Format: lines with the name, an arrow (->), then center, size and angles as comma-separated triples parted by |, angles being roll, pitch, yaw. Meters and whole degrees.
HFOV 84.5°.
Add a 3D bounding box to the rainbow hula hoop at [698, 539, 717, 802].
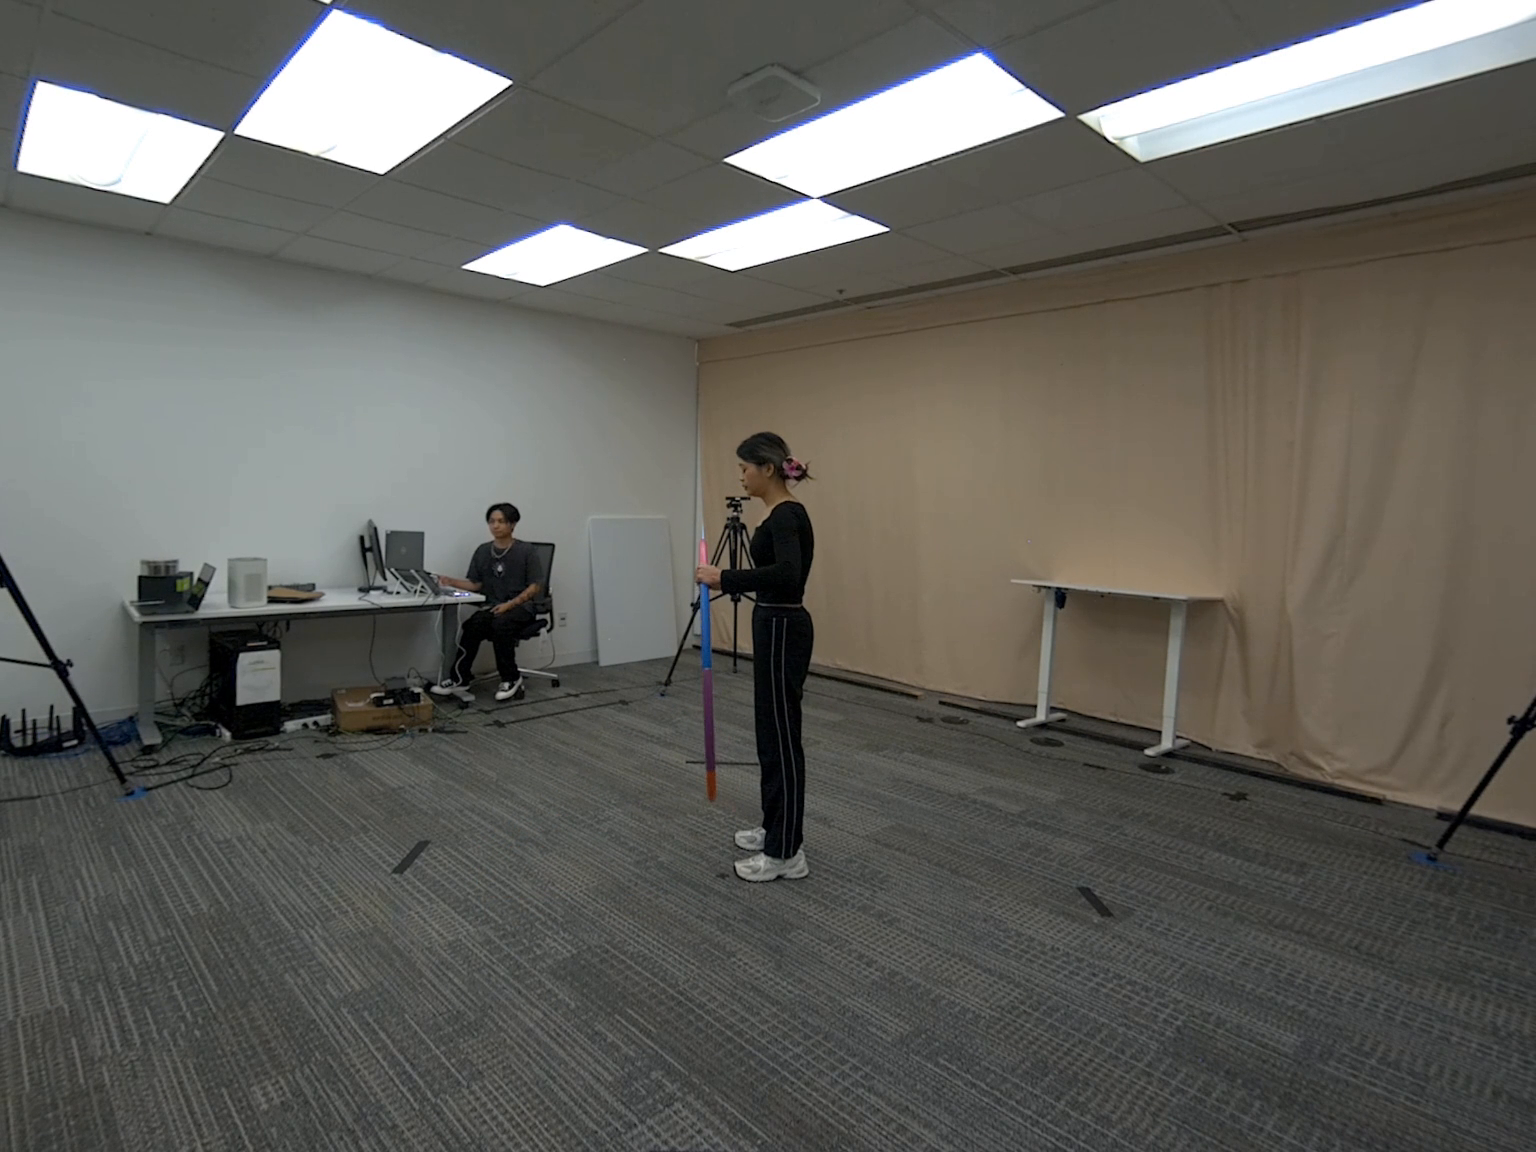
rainbow hula hoop -> -0.241, 0.368, 3.263 | 0.035, 0.976, 0.982 | -1, 4, -3
